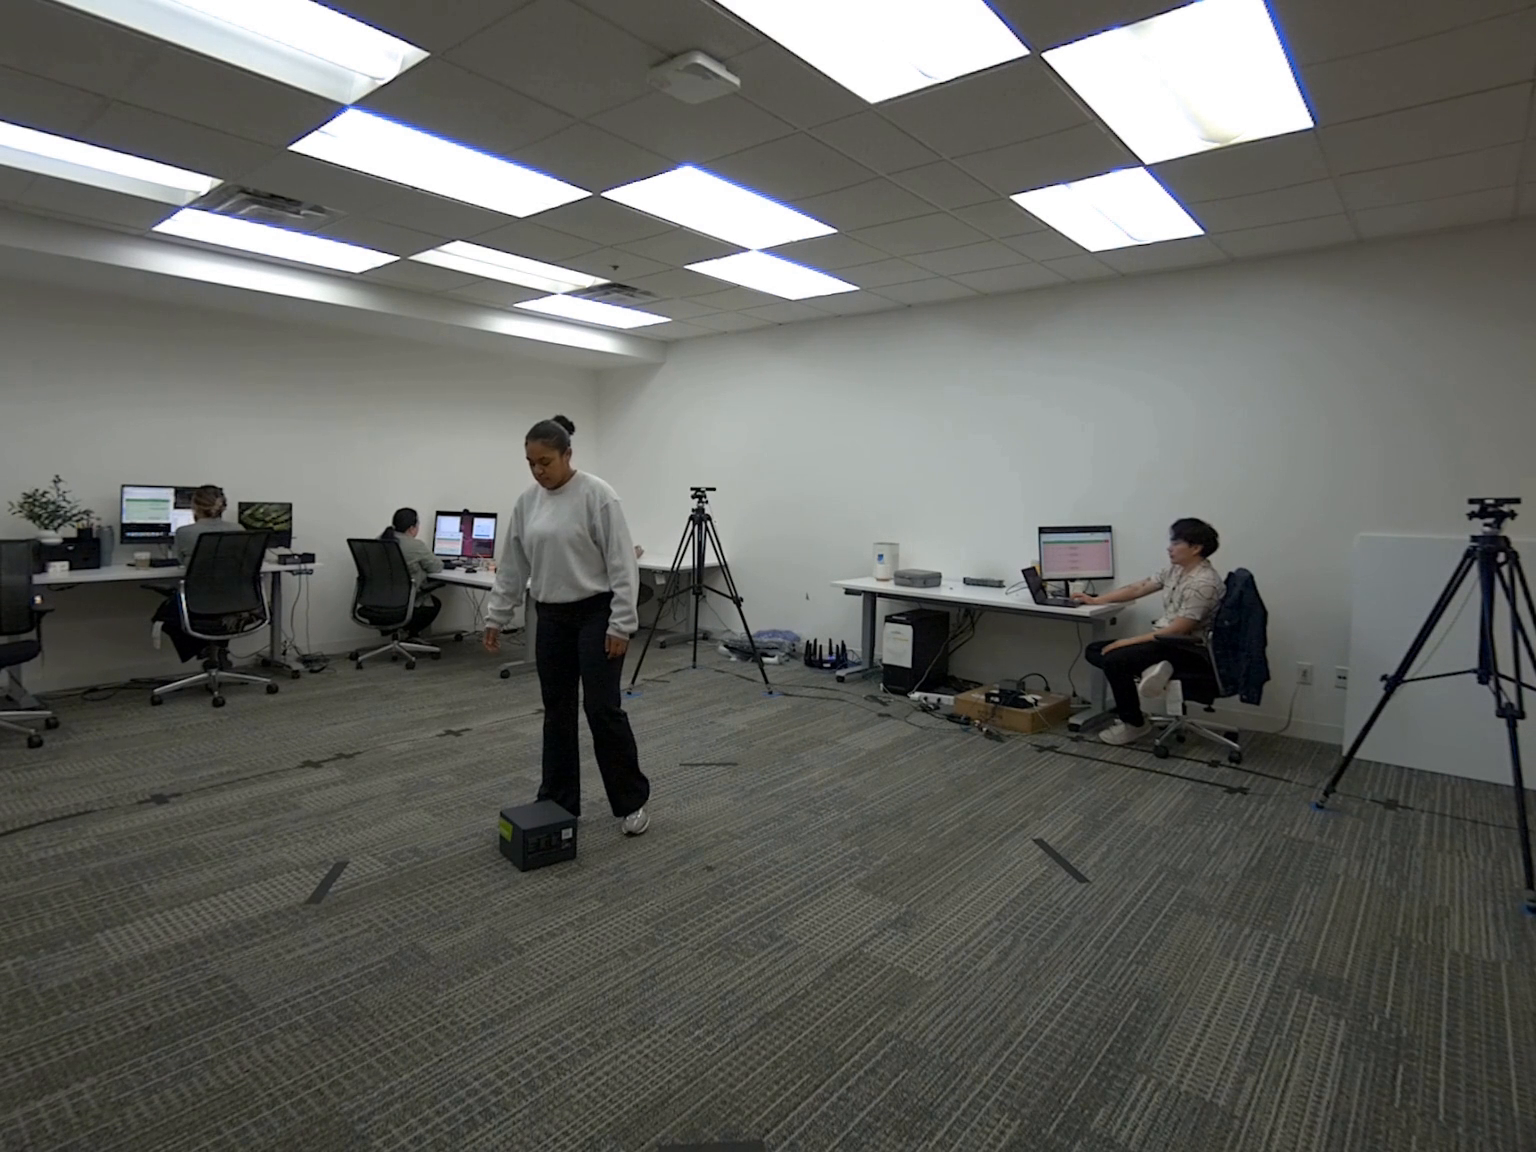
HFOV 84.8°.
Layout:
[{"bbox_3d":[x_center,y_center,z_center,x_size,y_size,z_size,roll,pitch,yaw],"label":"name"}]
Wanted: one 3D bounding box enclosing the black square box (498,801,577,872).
[{"bbox_3d":[-0.878,0.964,3.188,0.210,0.155,0.236,-3,6,-39],"label":"black square box"}]
